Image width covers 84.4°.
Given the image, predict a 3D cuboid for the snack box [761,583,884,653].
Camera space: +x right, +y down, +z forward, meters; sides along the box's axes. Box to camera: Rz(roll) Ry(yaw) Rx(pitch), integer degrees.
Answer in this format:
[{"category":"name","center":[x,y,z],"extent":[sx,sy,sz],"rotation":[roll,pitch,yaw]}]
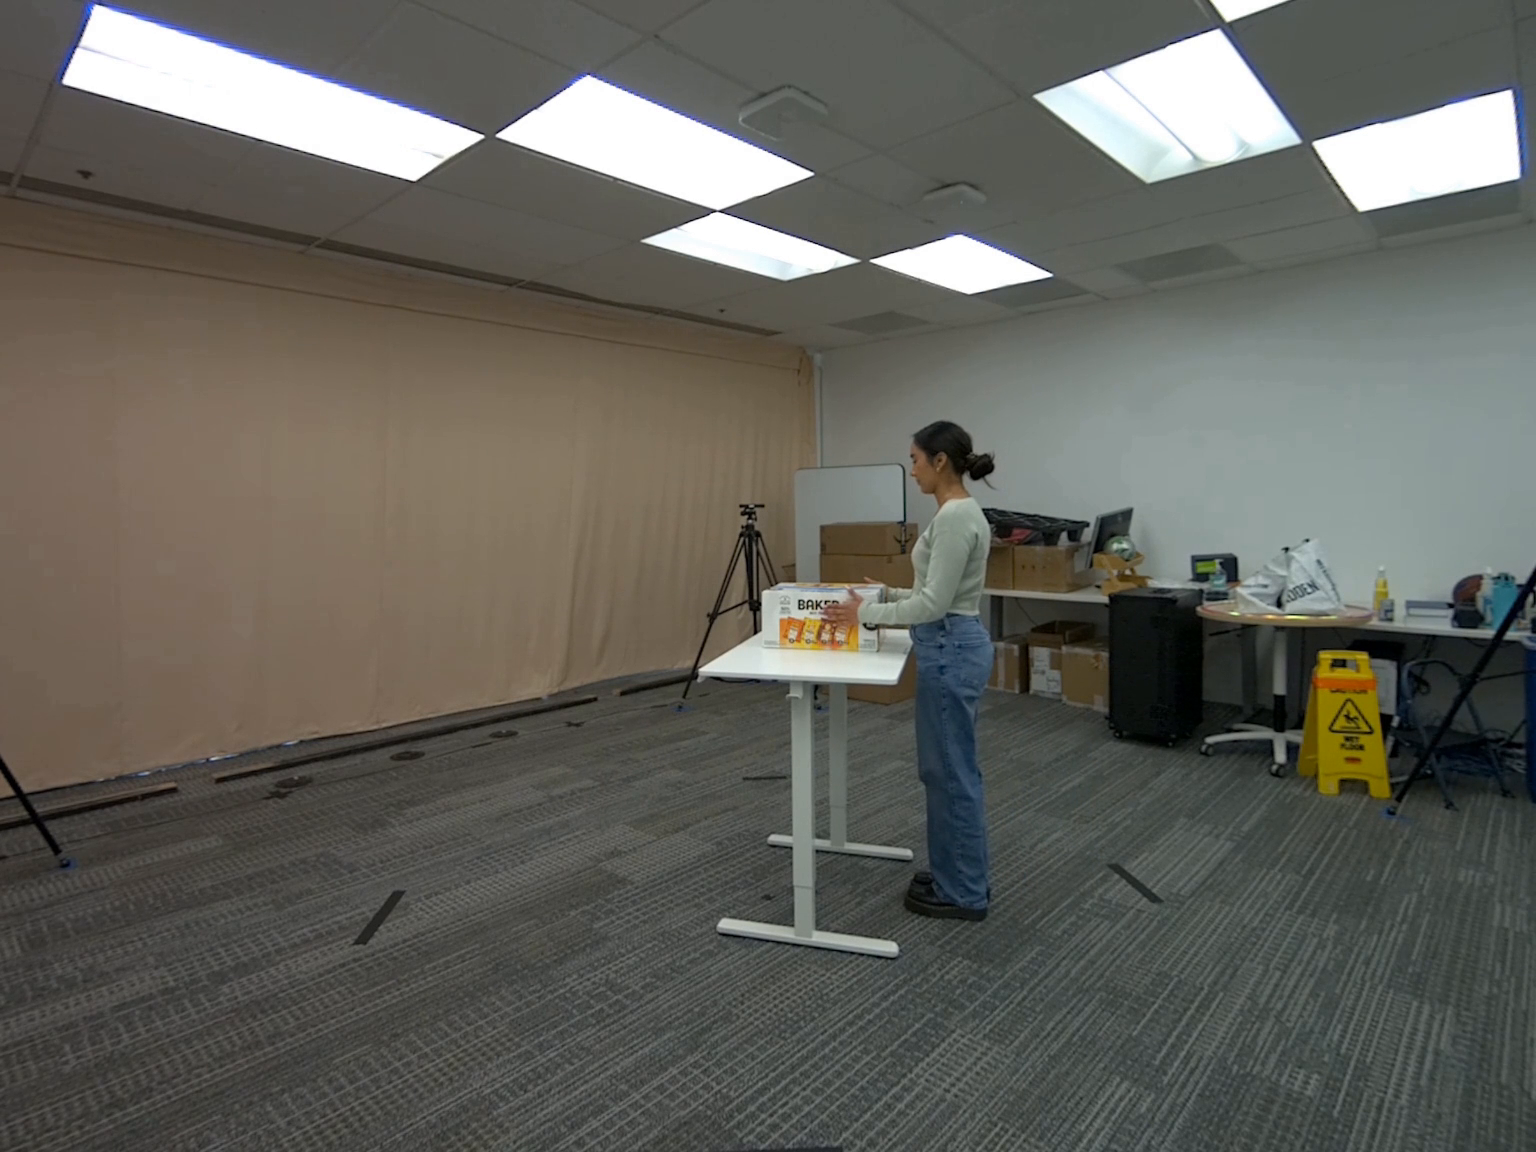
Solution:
[{"category":"snack box","center":[0.211,0.144,3.083],"extent":[0.412,0.205,0.335],"rotation":[1,4,14]}]
